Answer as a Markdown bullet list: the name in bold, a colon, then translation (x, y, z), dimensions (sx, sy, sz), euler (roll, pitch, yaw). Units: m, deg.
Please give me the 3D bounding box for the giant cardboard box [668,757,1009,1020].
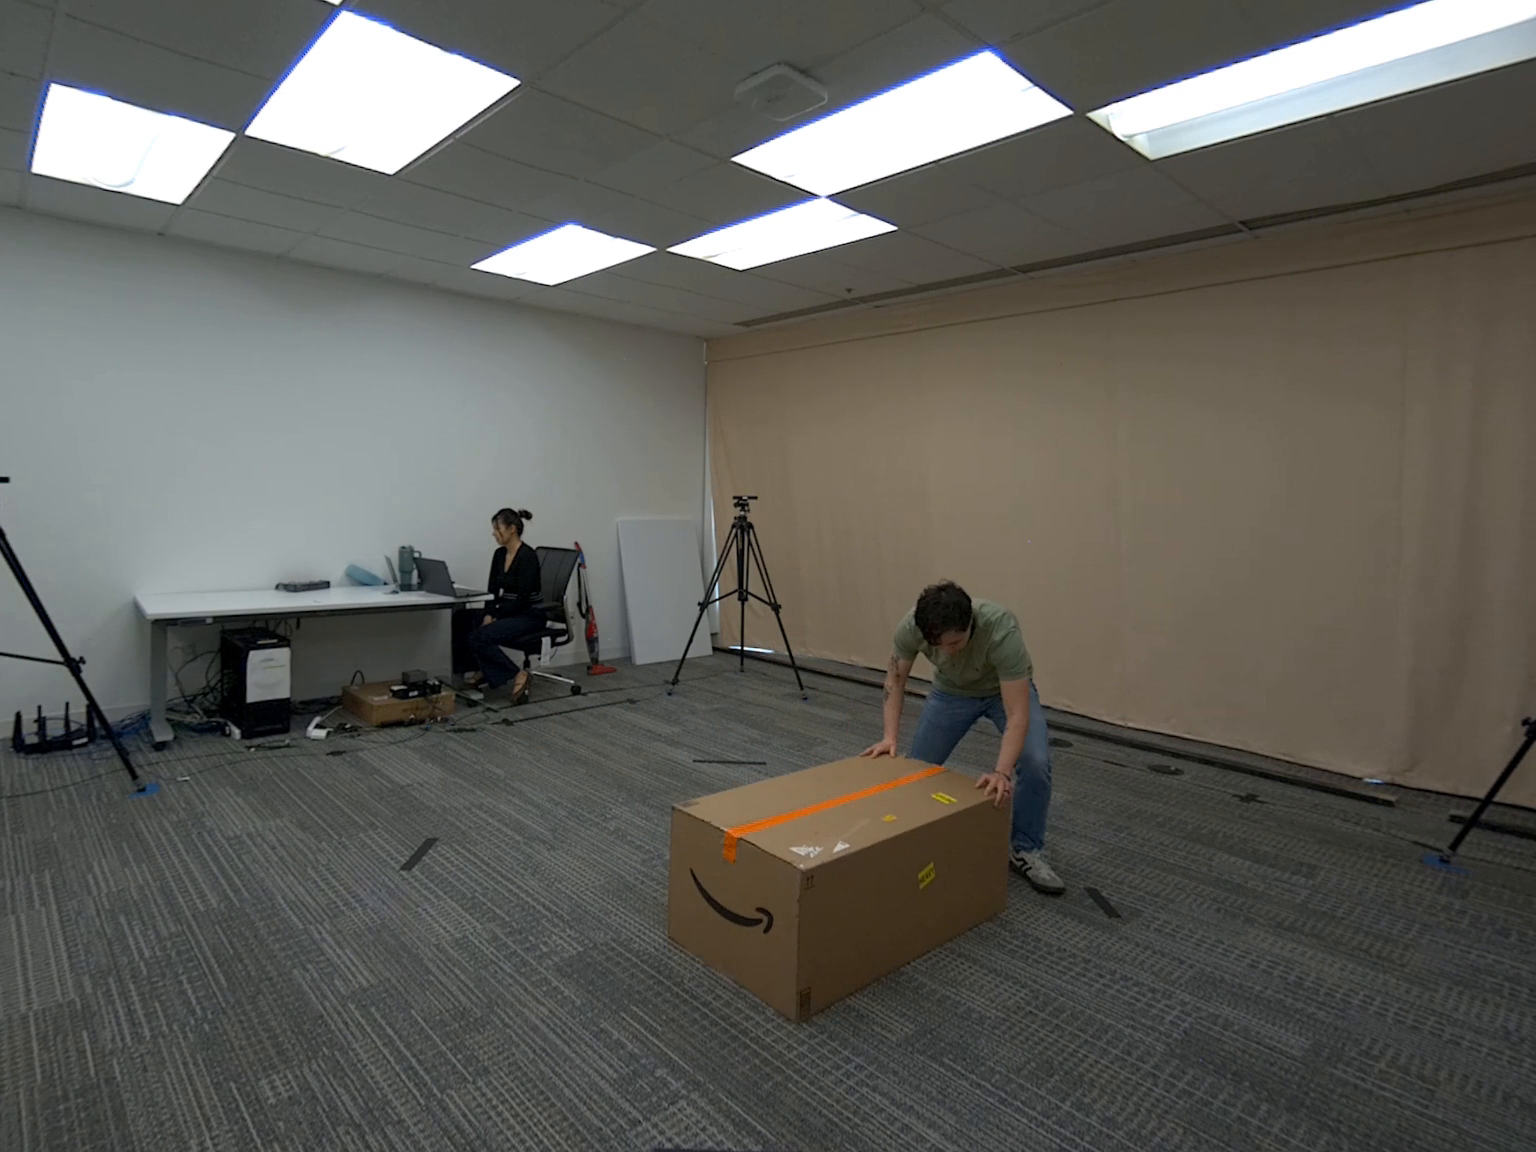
- **giant cardboard box**: translation (0.242, 0.932, 2.752), dimensions (1.002, 0.425, 0.593), euler (-3, 7, -42)
